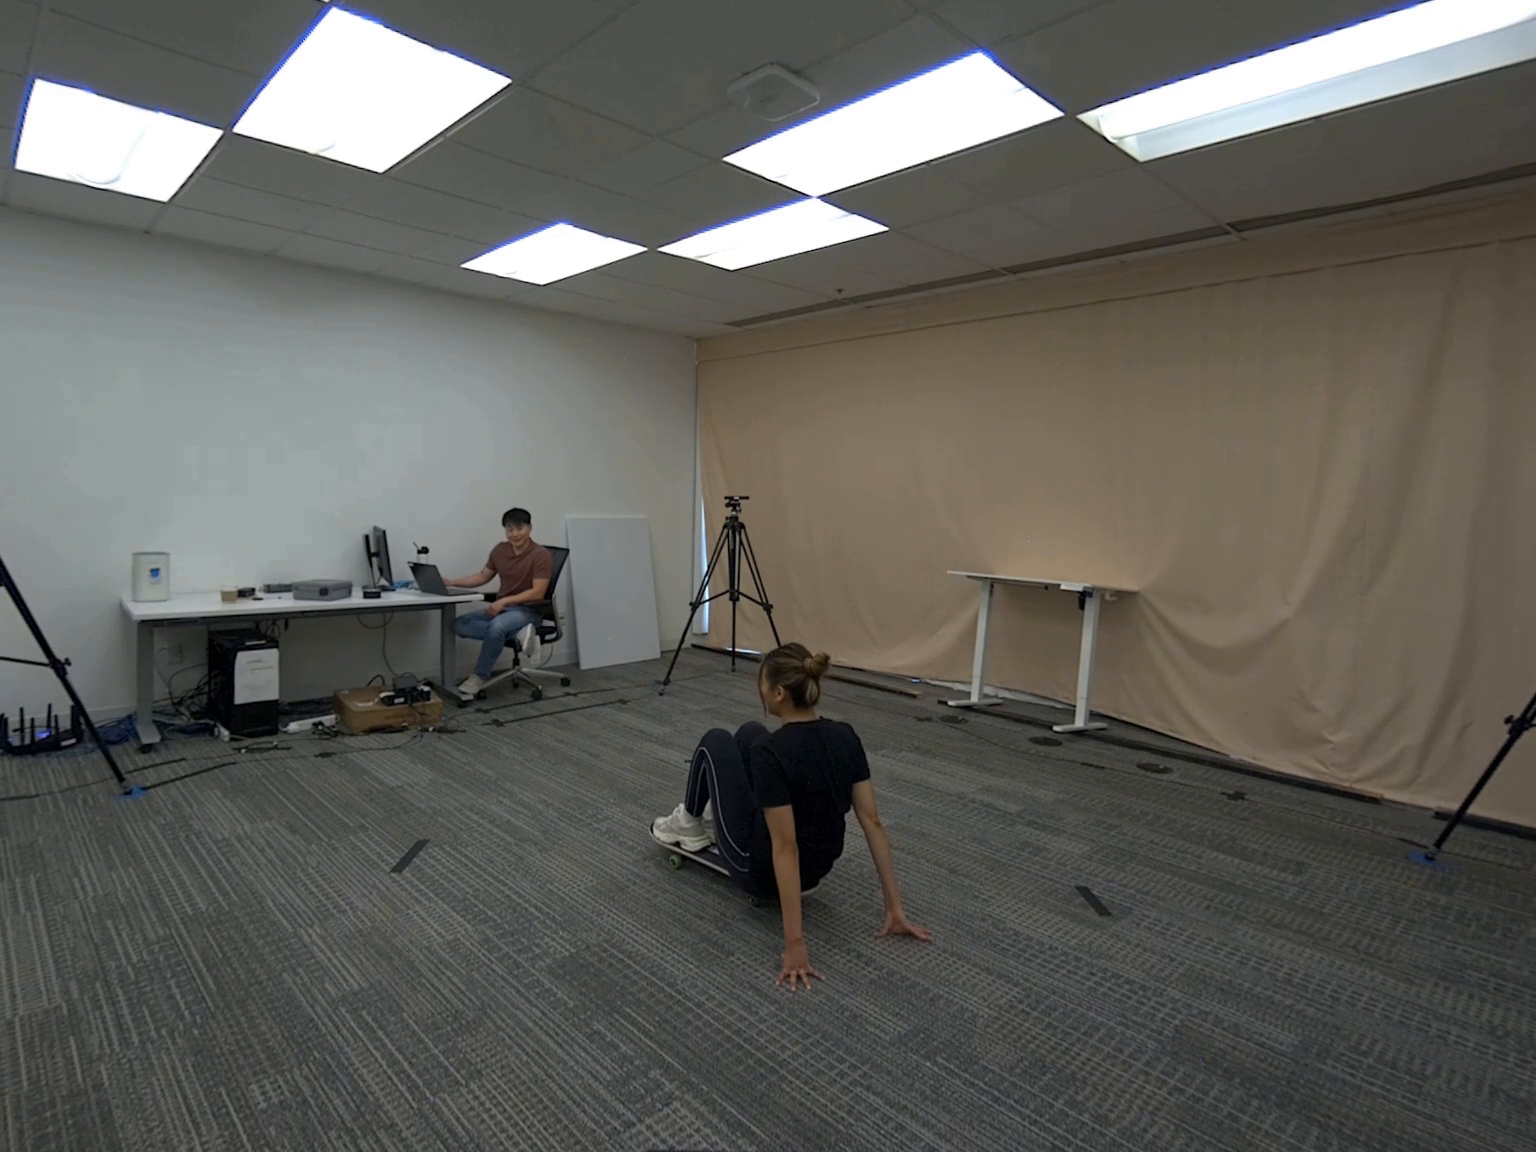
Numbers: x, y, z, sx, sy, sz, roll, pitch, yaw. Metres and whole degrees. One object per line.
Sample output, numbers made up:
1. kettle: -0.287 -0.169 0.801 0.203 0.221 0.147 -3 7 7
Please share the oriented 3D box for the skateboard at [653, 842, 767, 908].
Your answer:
1. skateboard: -0.139 1.064 3.068 0.806 0.110 0.189 7 10 42
